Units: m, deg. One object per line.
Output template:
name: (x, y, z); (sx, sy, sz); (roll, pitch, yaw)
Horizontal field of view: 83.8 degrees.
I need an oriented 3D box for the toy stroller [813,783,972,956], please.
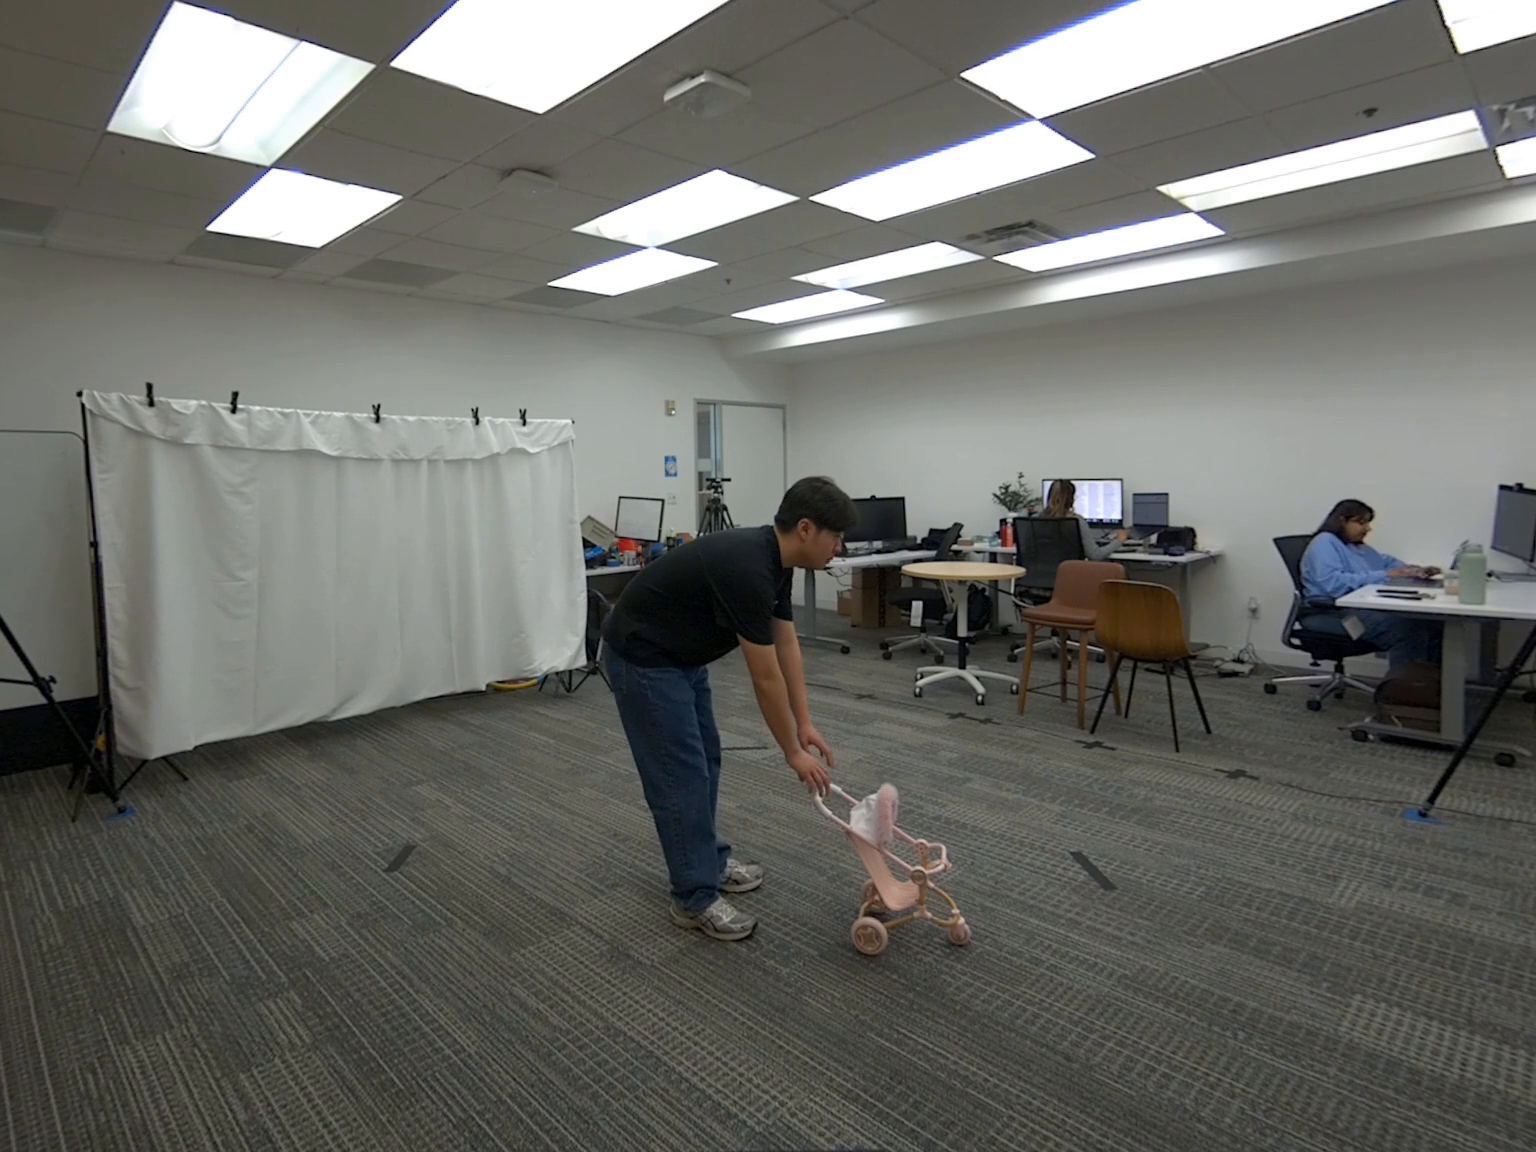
toy stroller: (0.400, 0.879, 2.585); (0.346, 0.536, 0.277); (-16, -1, 19)
